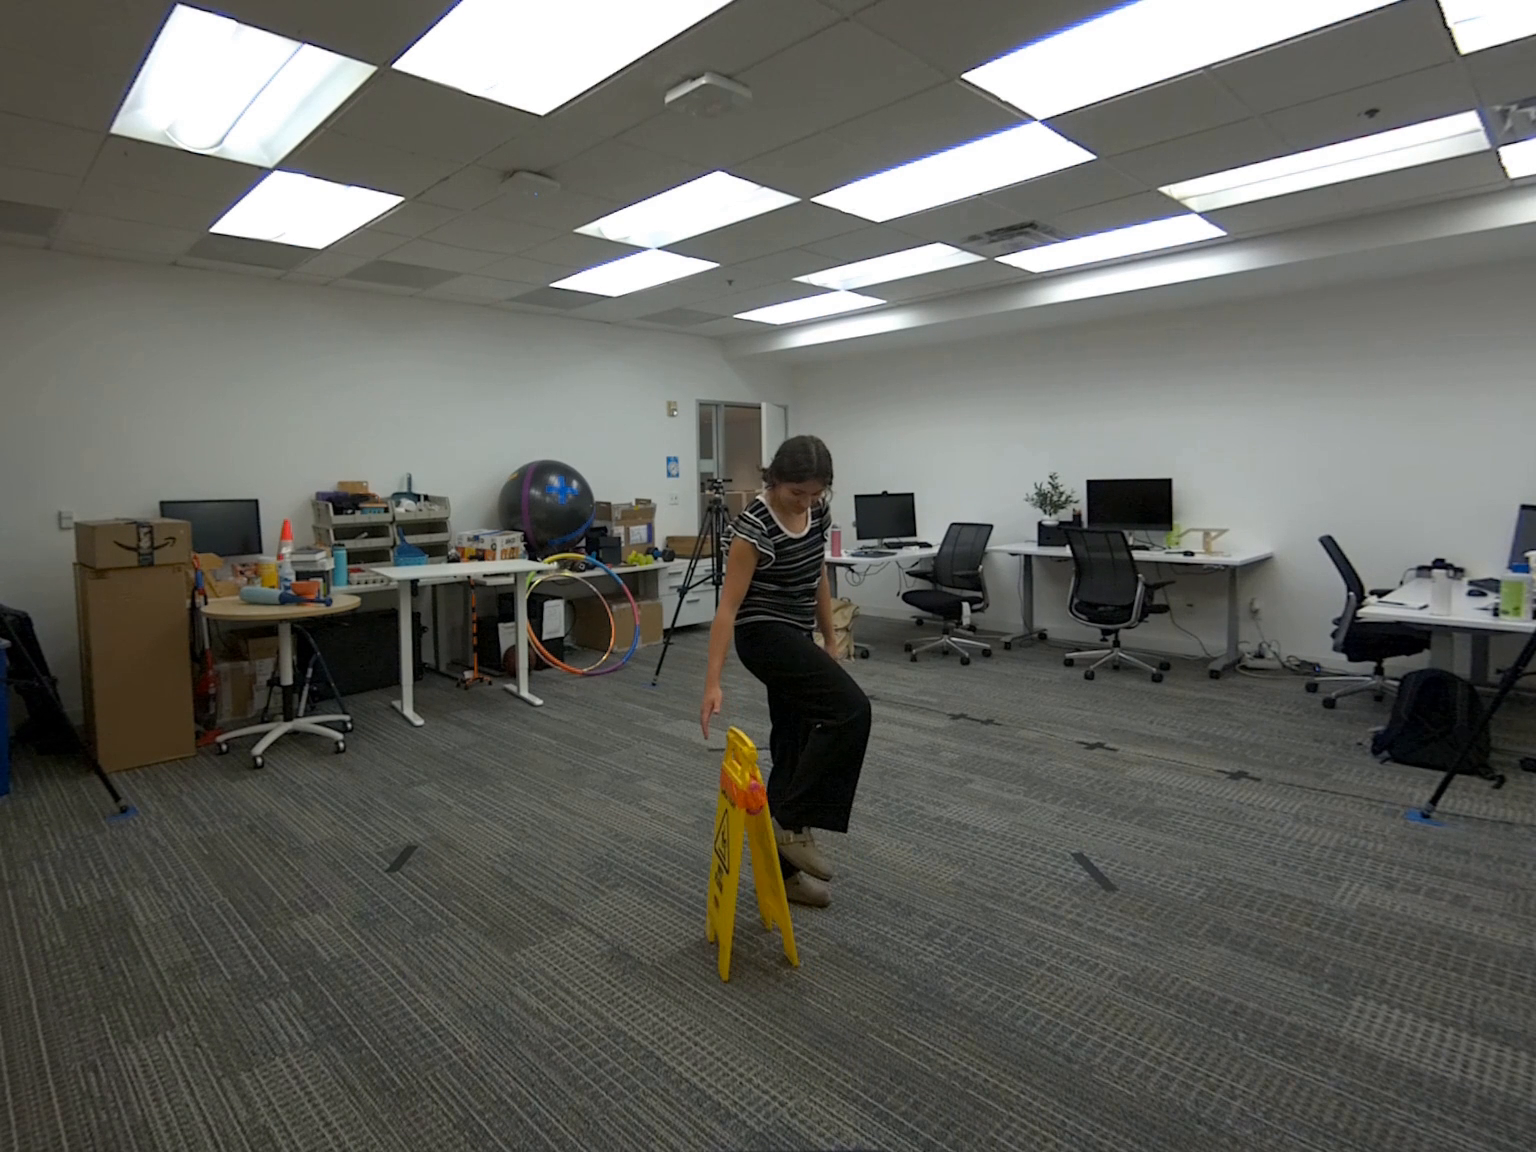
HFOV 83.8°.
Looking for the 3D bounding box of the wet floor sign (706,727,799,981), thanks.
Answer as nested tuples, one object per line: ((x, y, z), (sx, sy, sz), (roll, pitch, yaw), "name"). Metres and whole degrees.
((-0.060, 0.785, 2.508), (0.286, 0.644, 0.287), (-4, 4, -16), "wet floor sign")
